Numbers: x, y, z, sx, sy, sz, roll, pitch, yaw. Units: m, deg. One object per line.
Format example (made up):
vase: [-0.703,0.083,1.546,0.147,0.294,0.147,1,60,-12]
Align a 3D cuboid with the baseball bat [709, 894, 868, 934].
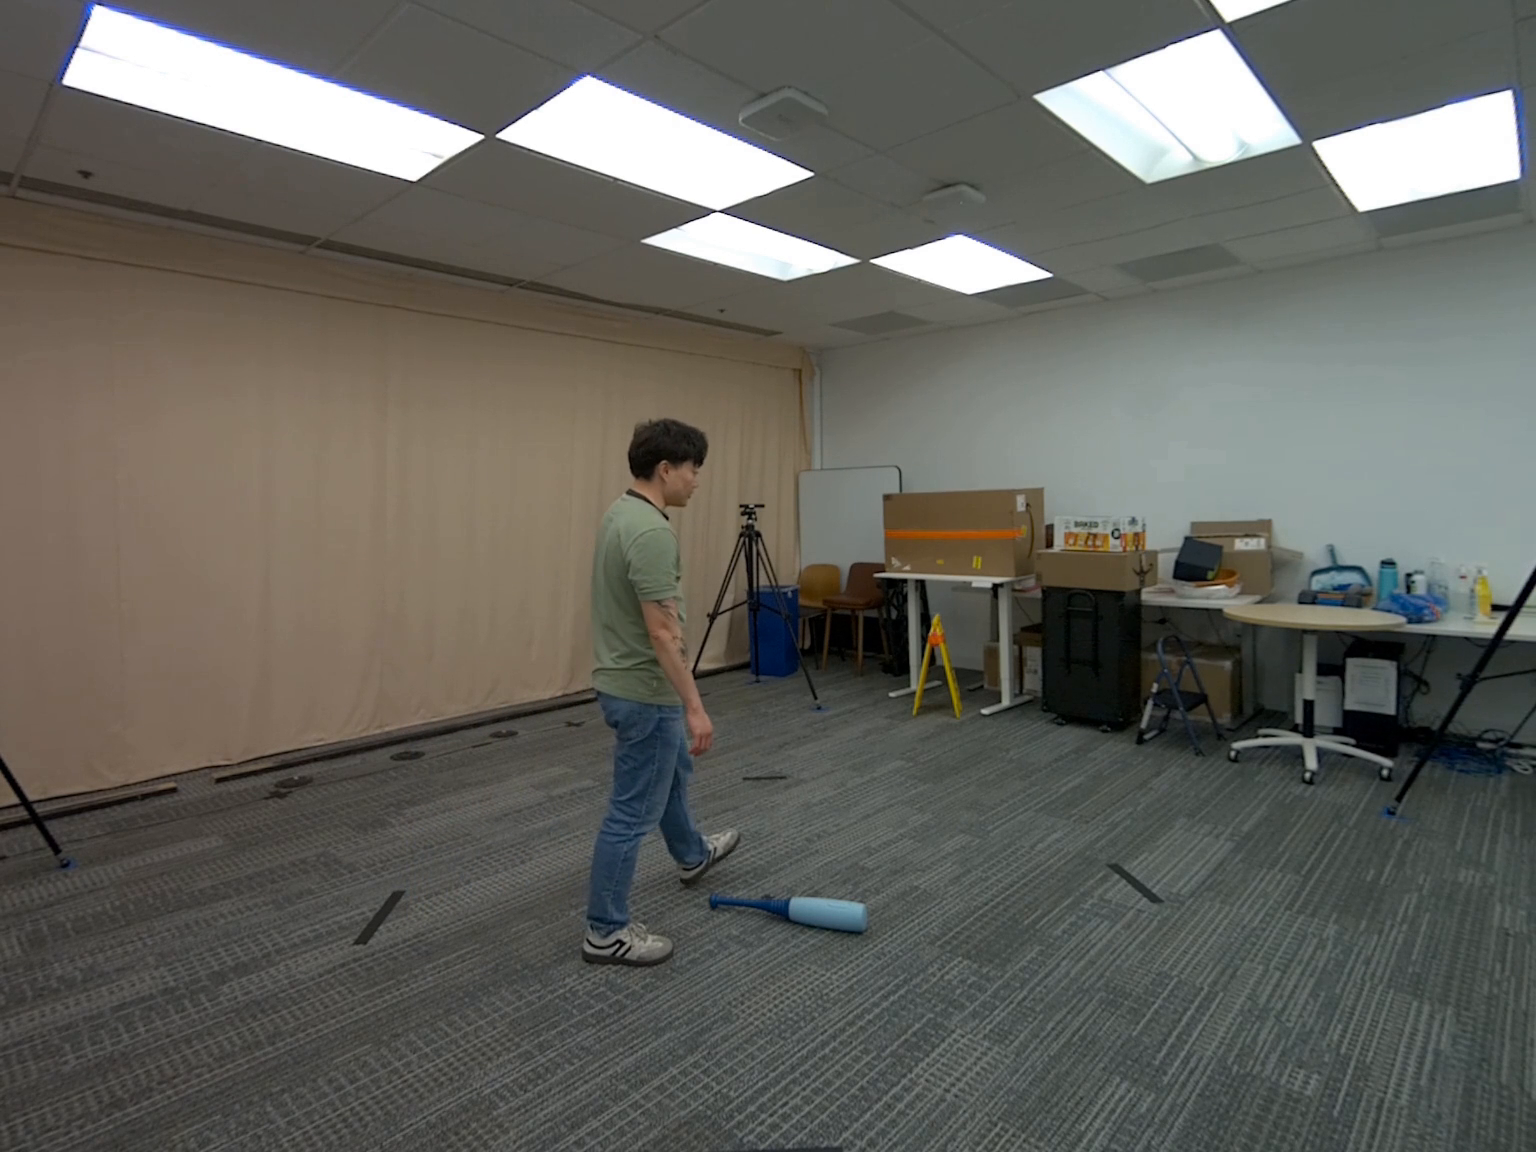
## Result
baseball bat: [0.065,1.116,2.815,0.553,0.089,0.087,-3,3,19]
